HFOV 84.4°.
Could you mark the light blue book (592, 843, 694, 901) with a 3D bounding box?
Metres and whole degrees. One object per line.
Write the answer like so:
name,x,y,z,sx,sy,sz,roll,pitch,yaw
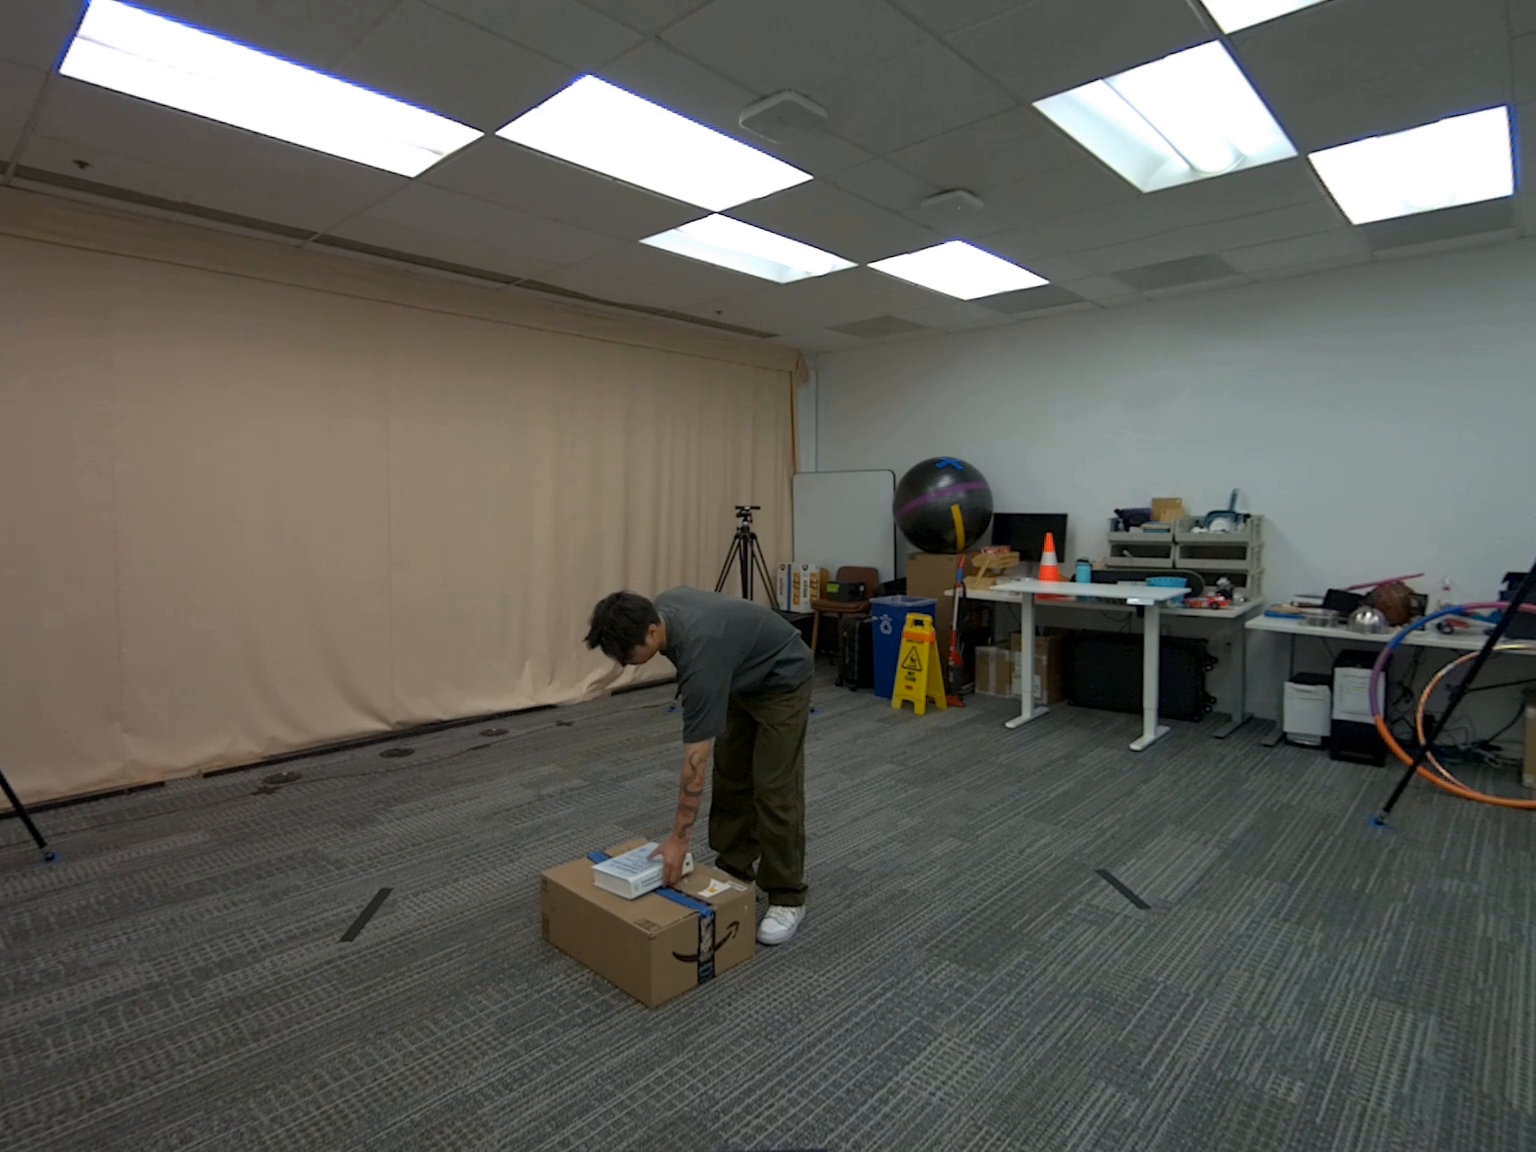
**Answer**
light blue book,-0.401,0.928,2.673,0.197,0.059,0.253,-1,4,41
